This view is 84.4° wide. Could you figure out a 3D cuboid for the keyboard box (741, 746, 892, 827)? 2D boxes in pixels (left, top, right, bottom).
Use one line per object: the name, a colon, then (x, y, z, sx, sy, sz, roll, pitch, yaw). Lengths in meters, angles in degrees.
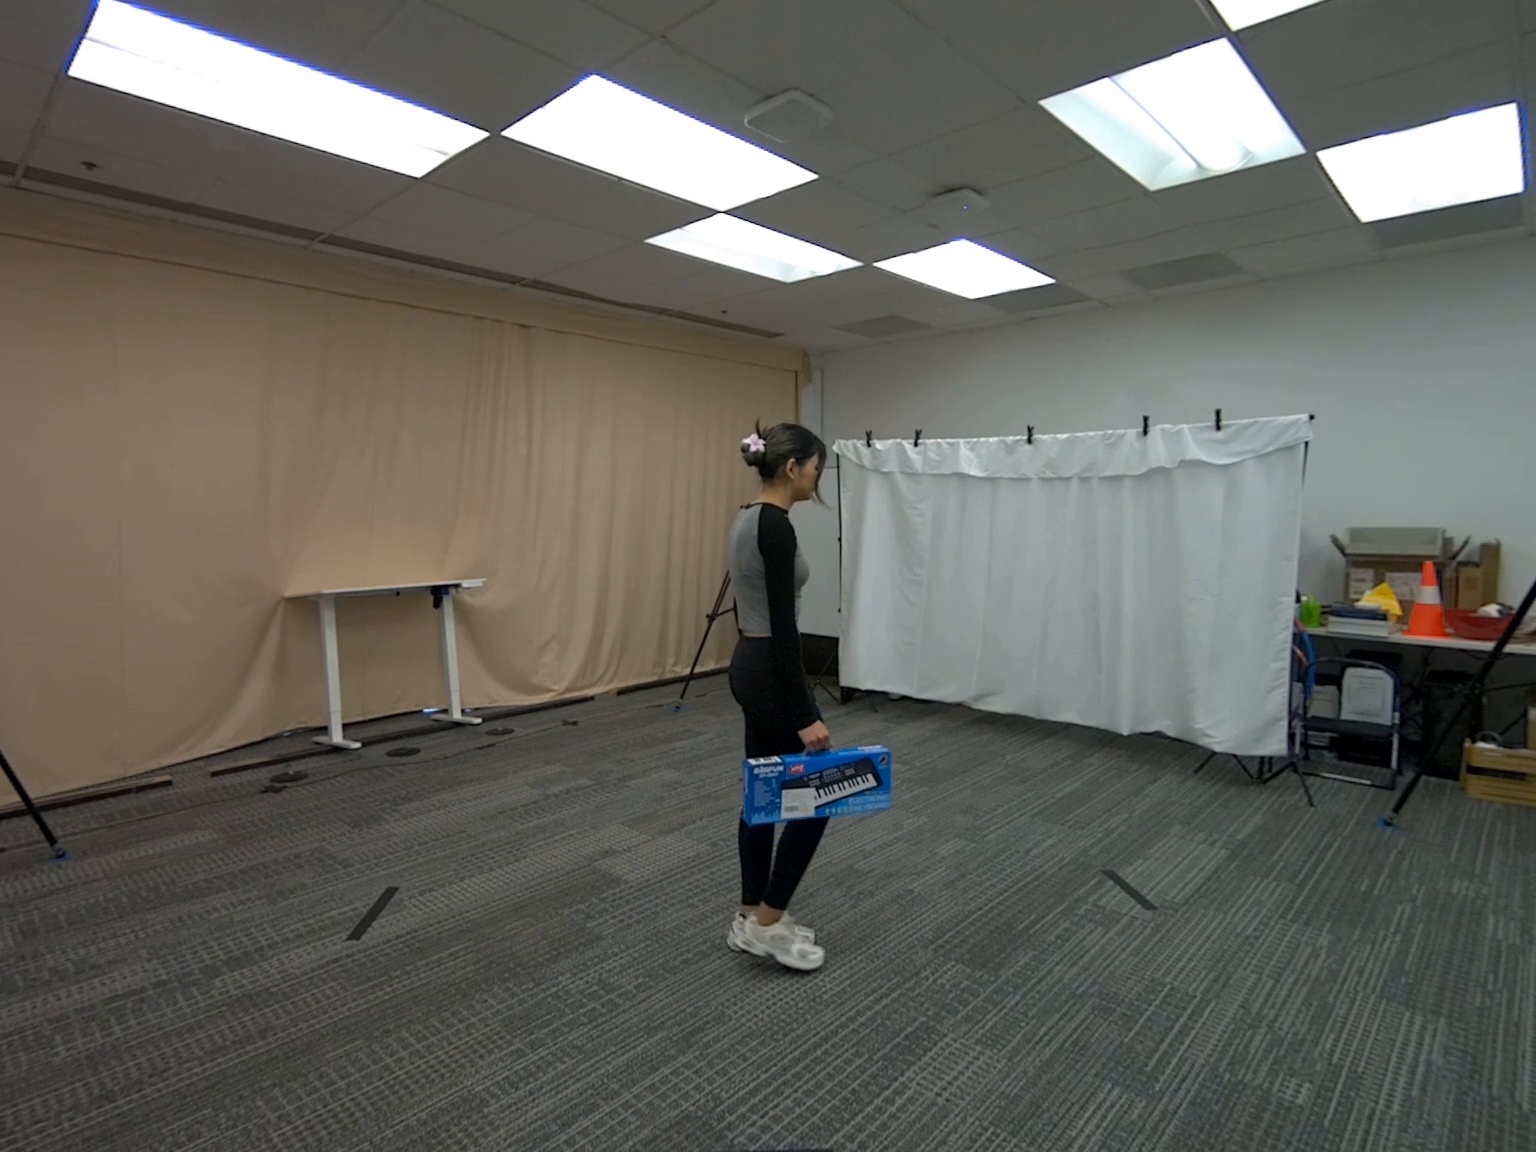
keyboard box: (0.148, 0.593, 2.405, 0.428, 0.175, 0.060, -1, 4, -19)
